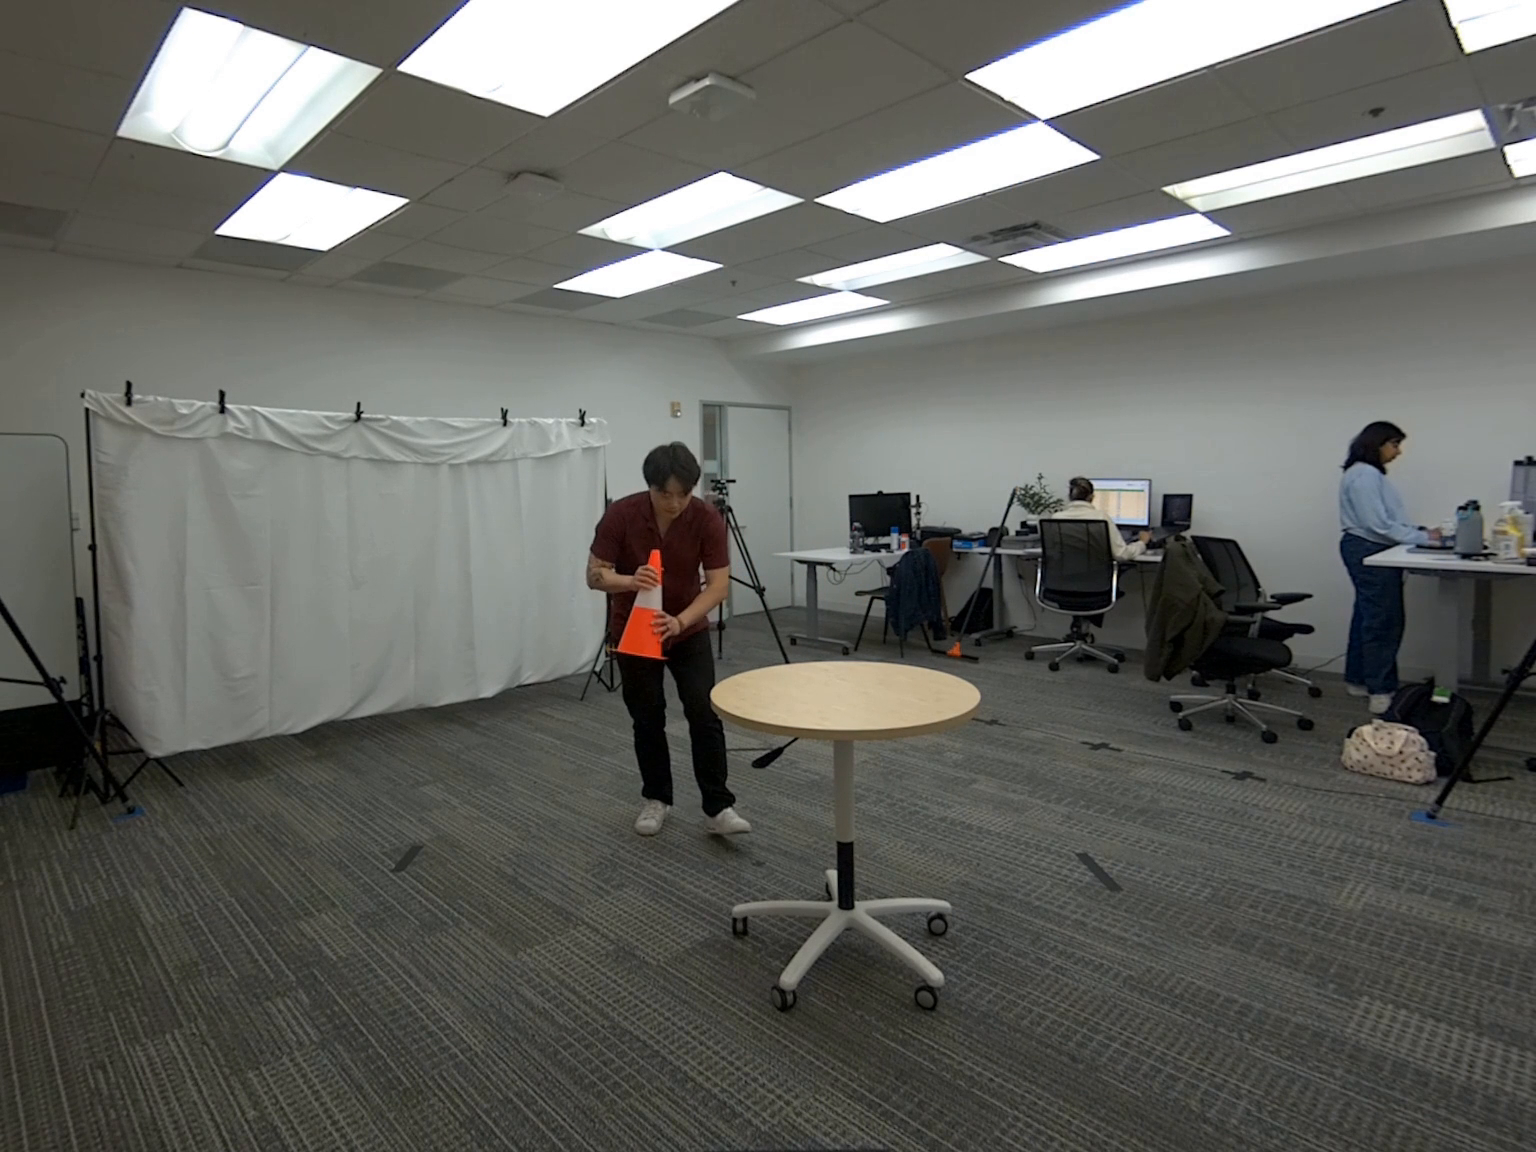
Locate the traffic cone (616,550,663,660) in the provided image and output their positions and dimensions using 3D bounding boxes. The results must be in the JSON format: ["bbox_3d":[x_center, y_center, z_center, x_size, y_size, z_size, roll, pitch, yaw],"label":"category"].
[{"bbox_3d":[-0.439,0.101,3.112,0.206,0.385,0.201,7,-5,3],"label":"traffic cone"}]
